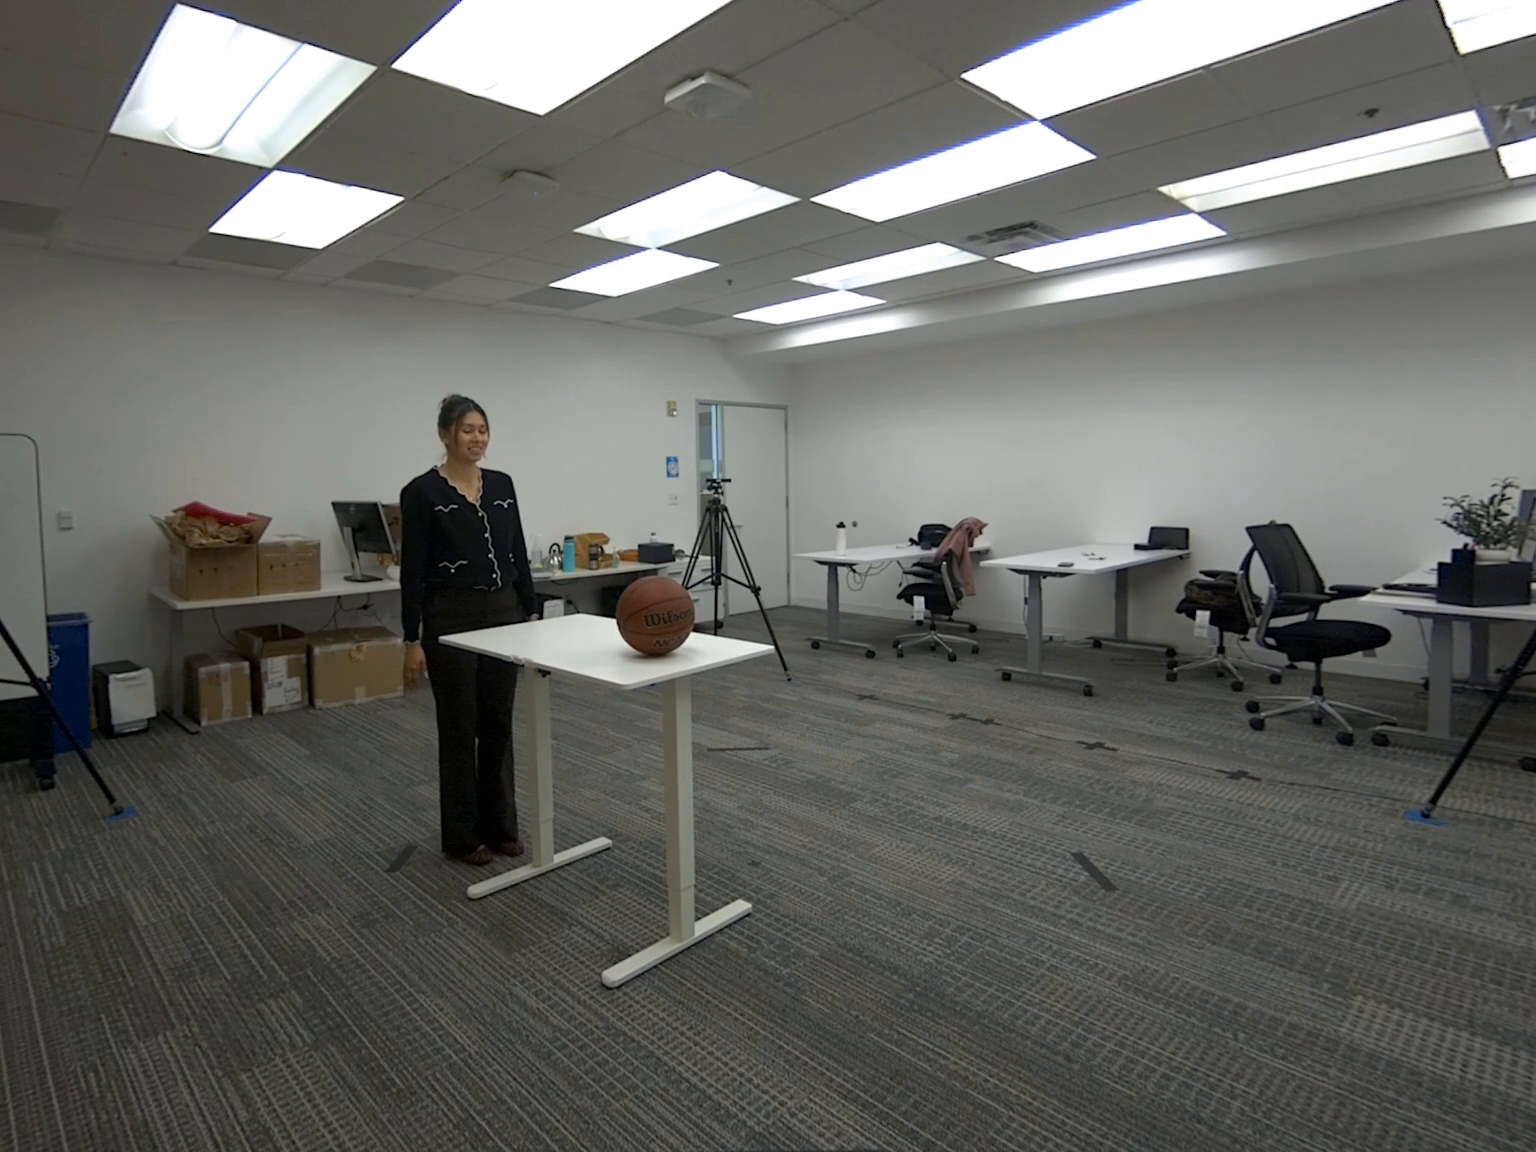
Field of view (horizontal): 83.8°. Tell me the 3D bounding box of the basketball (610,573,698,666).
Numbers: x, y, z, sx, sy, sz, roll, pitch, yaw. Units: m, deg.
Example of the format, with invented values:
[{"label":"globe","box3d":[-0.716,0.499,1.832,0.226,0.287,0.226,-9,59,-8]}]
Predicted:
[{"label":"basketball","box3d":[-0.335,0.122,2.545,0.236,0.235,0.237,-1,5,-2]}]
